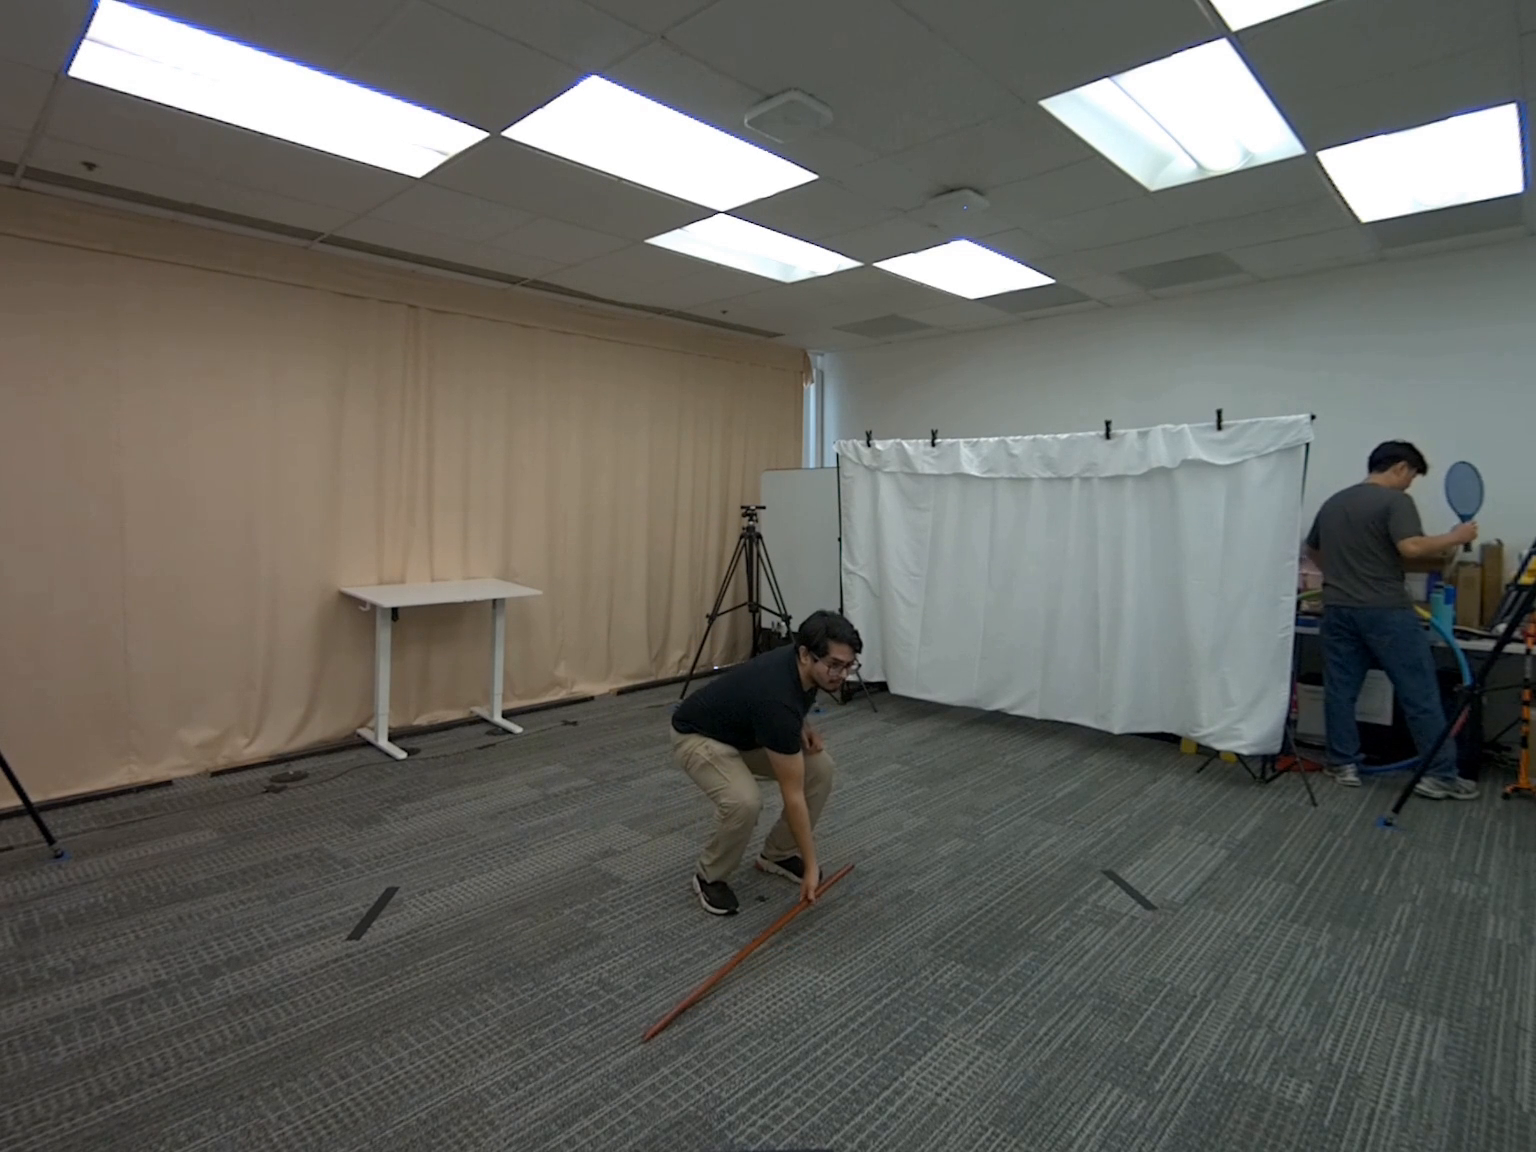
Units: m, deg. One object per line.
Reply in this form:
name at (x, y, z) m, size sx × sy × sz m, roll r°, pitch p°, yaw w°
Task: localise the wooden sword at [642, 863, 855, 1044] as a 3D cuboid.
wooden sword at (-0.013, 1.112, 2.584) m, size 0.053 × 0.024 × 0.998 m, roll -1°, pitch 10°, yaw 38°
